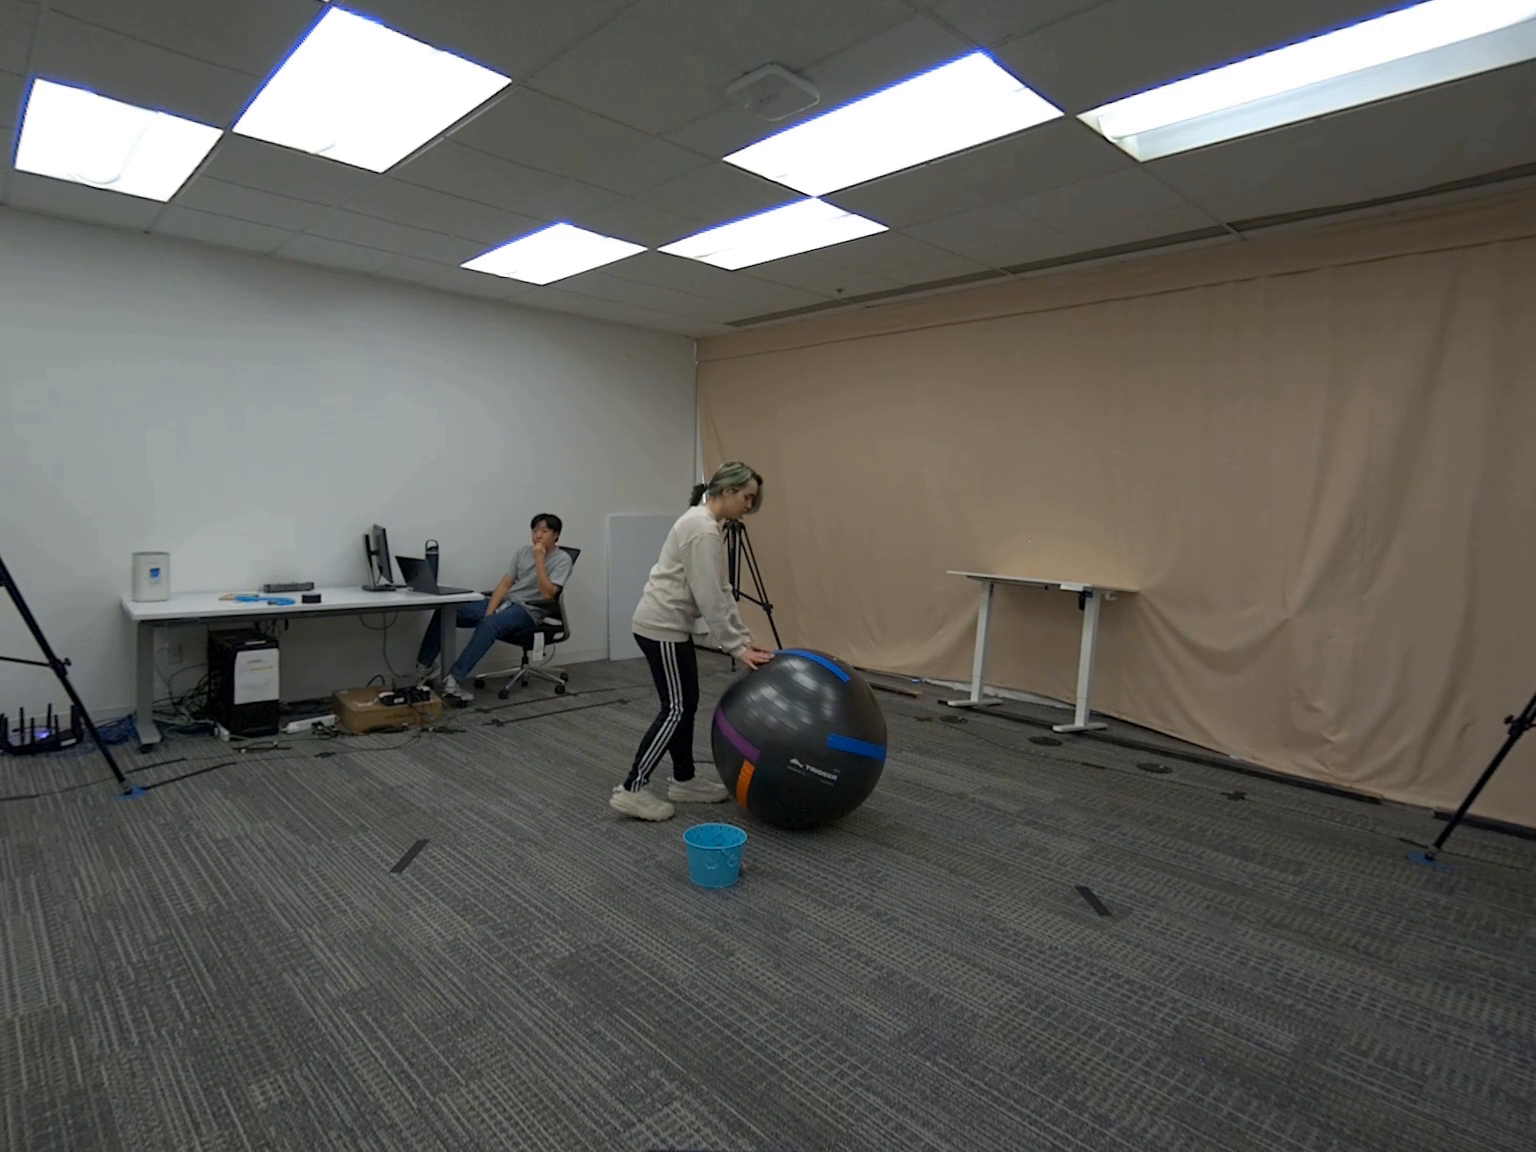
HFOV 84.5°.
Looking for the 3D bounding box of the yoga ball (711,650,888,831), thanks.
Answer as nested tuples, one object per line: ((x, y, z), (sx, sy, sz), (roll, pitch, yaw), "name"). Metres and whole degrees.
((0.134, 0.710, 3.635), (0.757, 0.756, 0.761), (1, 4, -1), "yoga ball")
